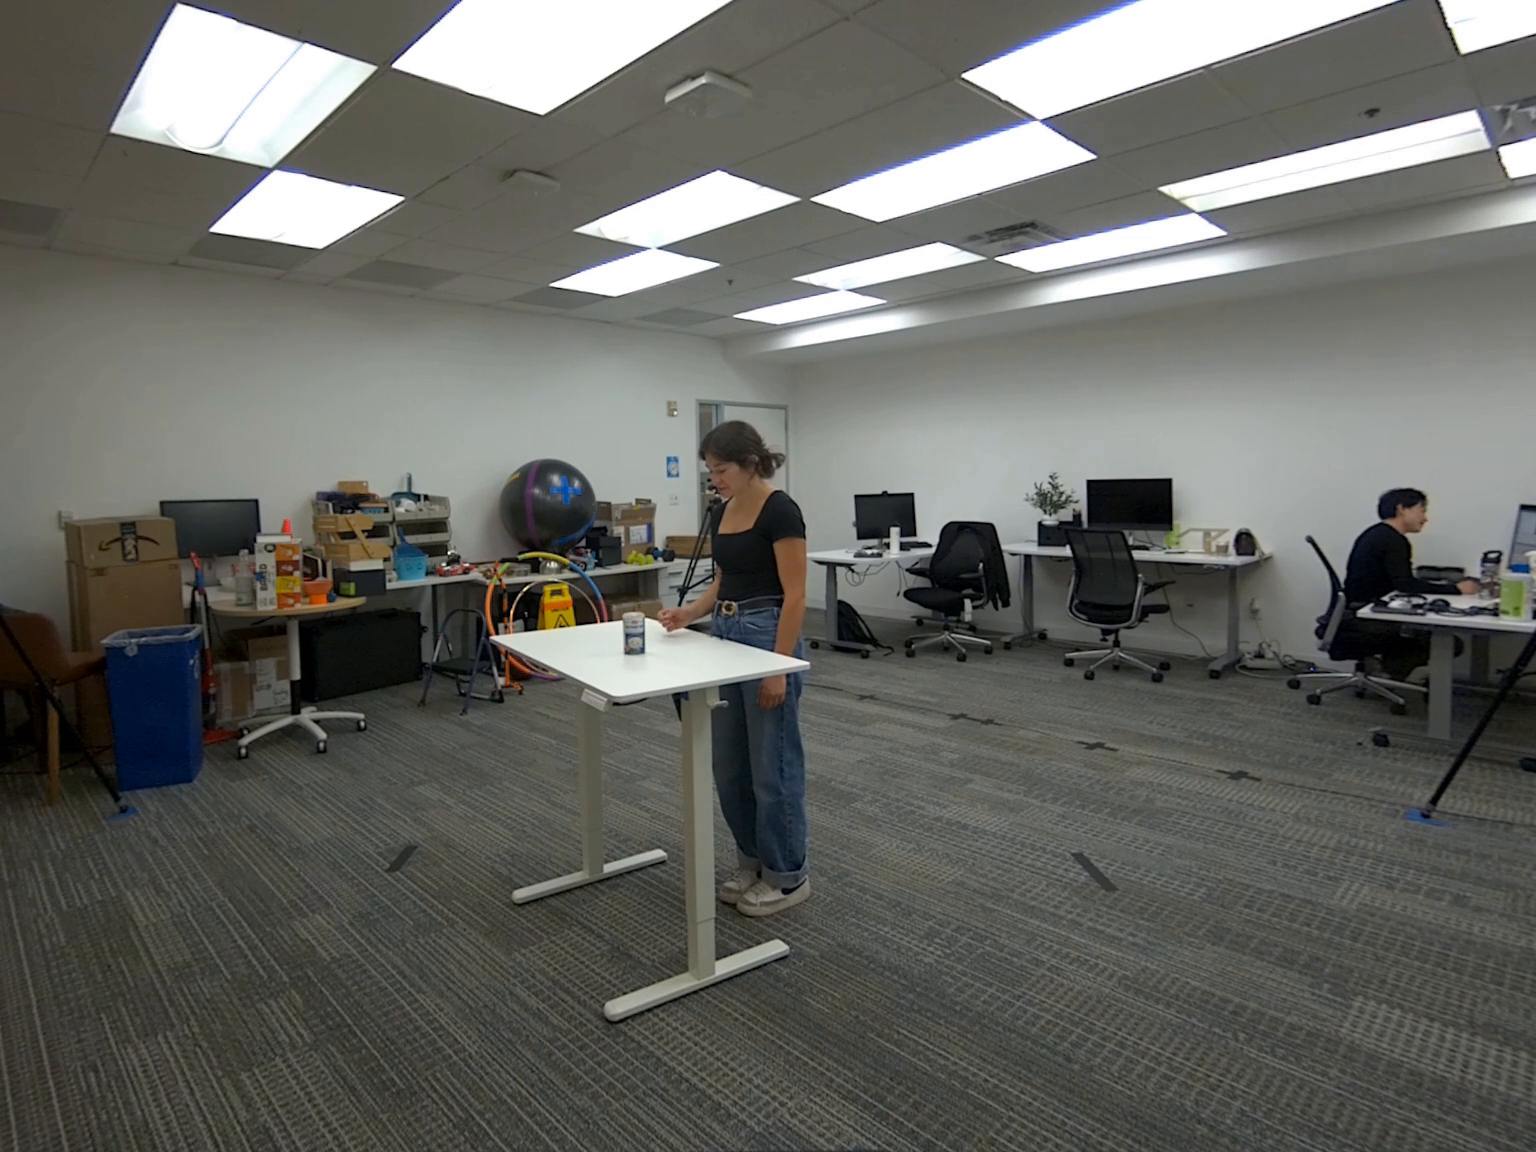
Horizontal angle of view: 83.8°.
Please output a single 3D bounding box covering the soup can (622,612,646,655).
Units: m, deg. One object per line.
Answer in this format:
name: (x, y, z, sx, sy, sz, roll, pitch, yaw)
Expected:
soup can: (-0.399, 0.175, 2.562, 0.067, 0.121, 0.067, -2, 2, -2)
